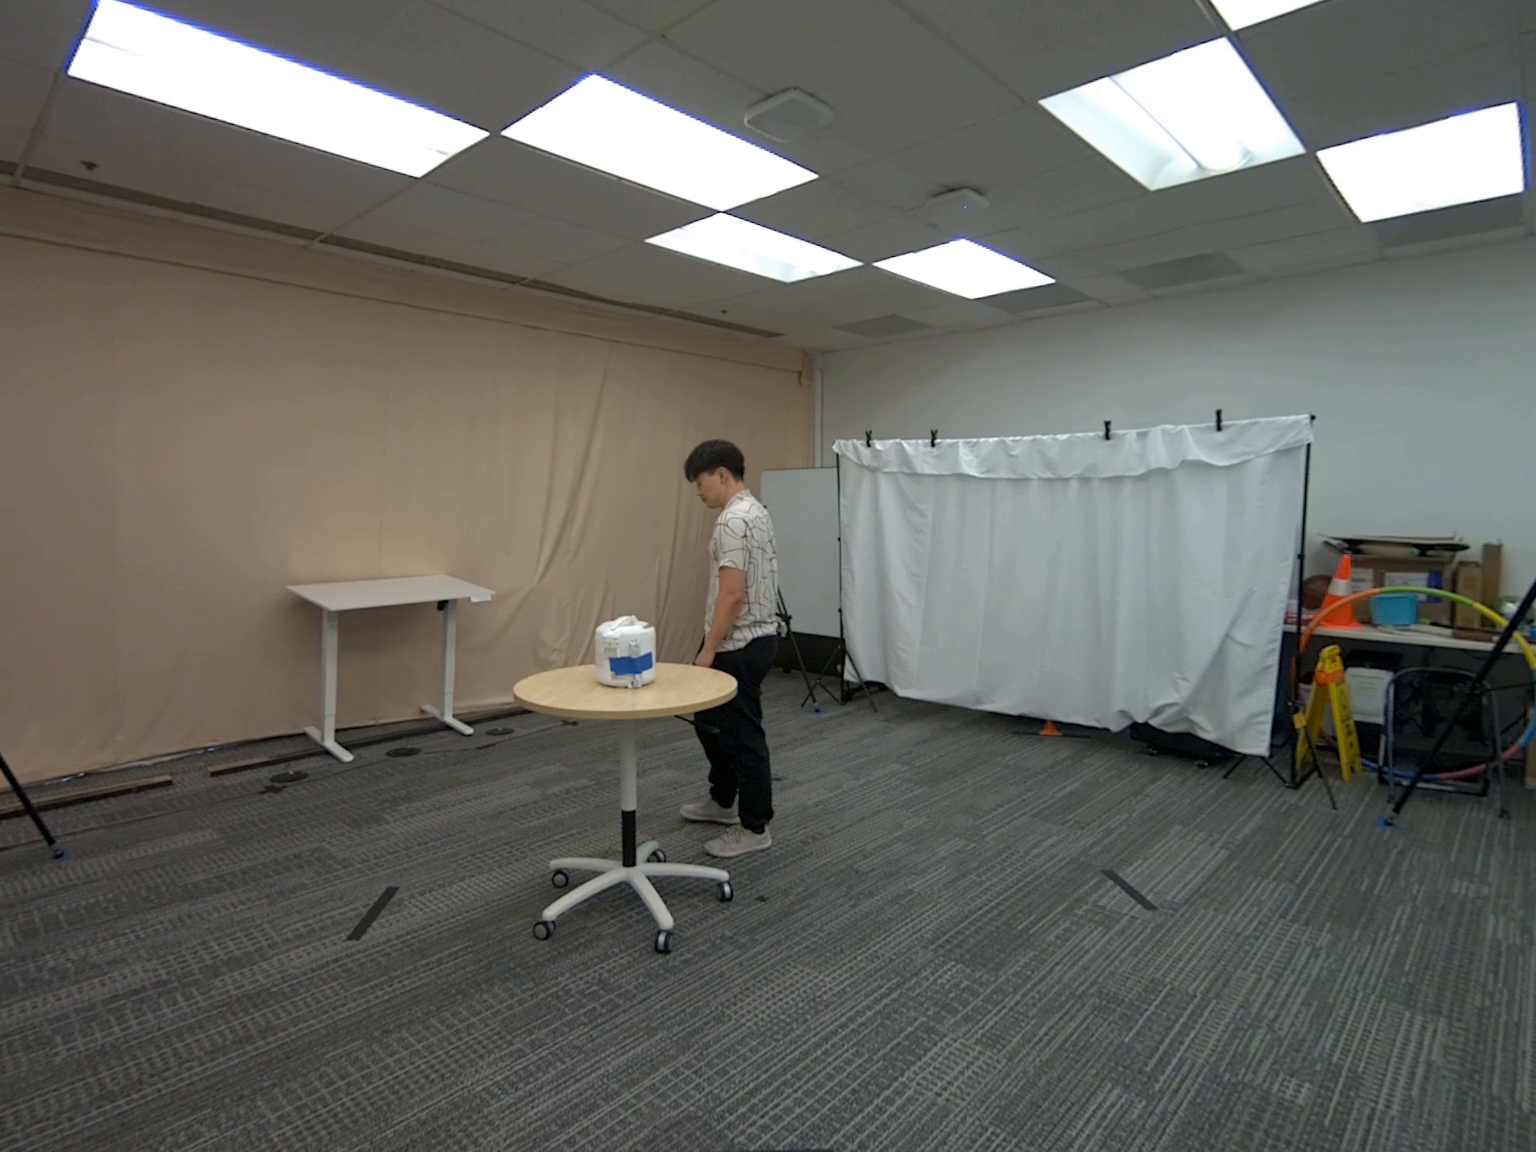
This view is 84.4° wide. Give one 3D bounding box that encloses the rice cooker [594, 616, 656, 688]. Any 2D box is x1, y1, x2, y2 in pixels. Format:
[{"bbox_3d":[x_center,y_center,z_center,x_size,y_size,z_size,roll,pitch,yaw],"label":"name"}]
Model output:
[{"bbox_3d":[-0.492,0.255,2.911,0.222,0.232,0.216,3,4,21],"label":"rice cooker"}]
